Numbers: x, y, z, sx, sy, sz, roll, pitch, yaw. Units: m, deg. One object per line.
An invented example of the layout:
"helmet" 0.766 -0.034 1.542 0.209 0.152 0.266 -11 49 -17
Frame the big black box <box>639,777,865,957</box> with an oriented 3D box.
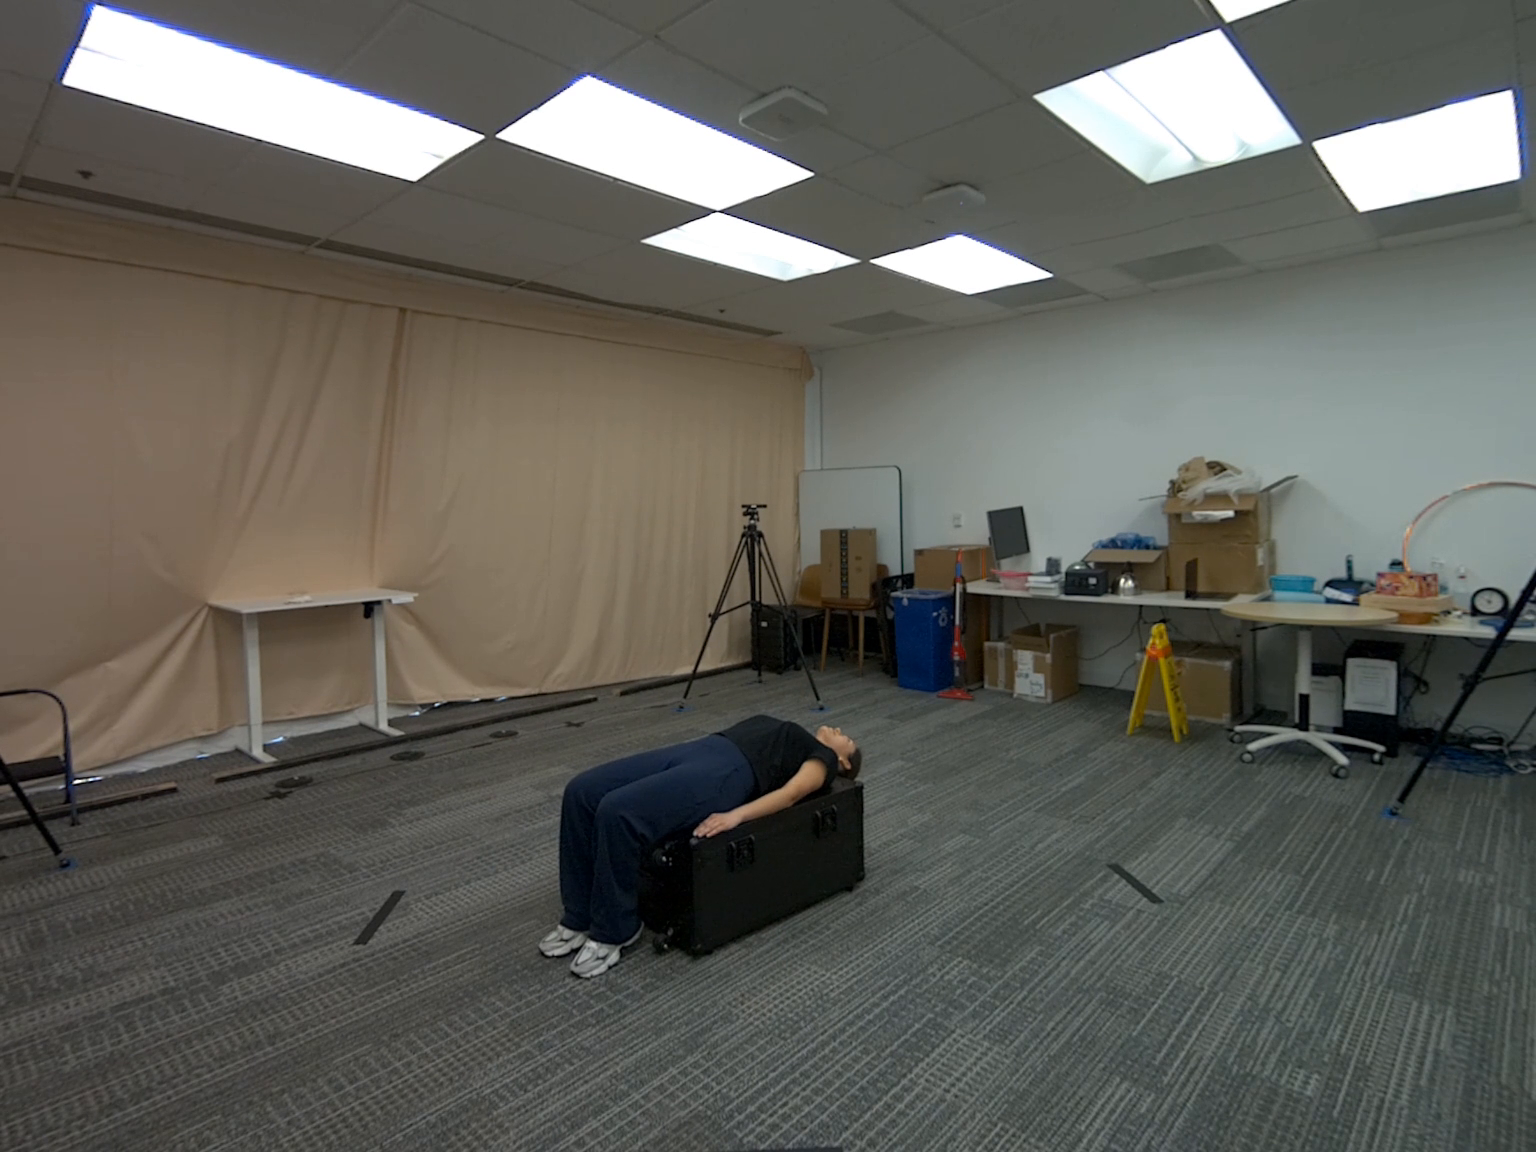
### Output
"big black box" -0.061 0.961 3.003 0.836 0.395 0.538 -7 7 -40
